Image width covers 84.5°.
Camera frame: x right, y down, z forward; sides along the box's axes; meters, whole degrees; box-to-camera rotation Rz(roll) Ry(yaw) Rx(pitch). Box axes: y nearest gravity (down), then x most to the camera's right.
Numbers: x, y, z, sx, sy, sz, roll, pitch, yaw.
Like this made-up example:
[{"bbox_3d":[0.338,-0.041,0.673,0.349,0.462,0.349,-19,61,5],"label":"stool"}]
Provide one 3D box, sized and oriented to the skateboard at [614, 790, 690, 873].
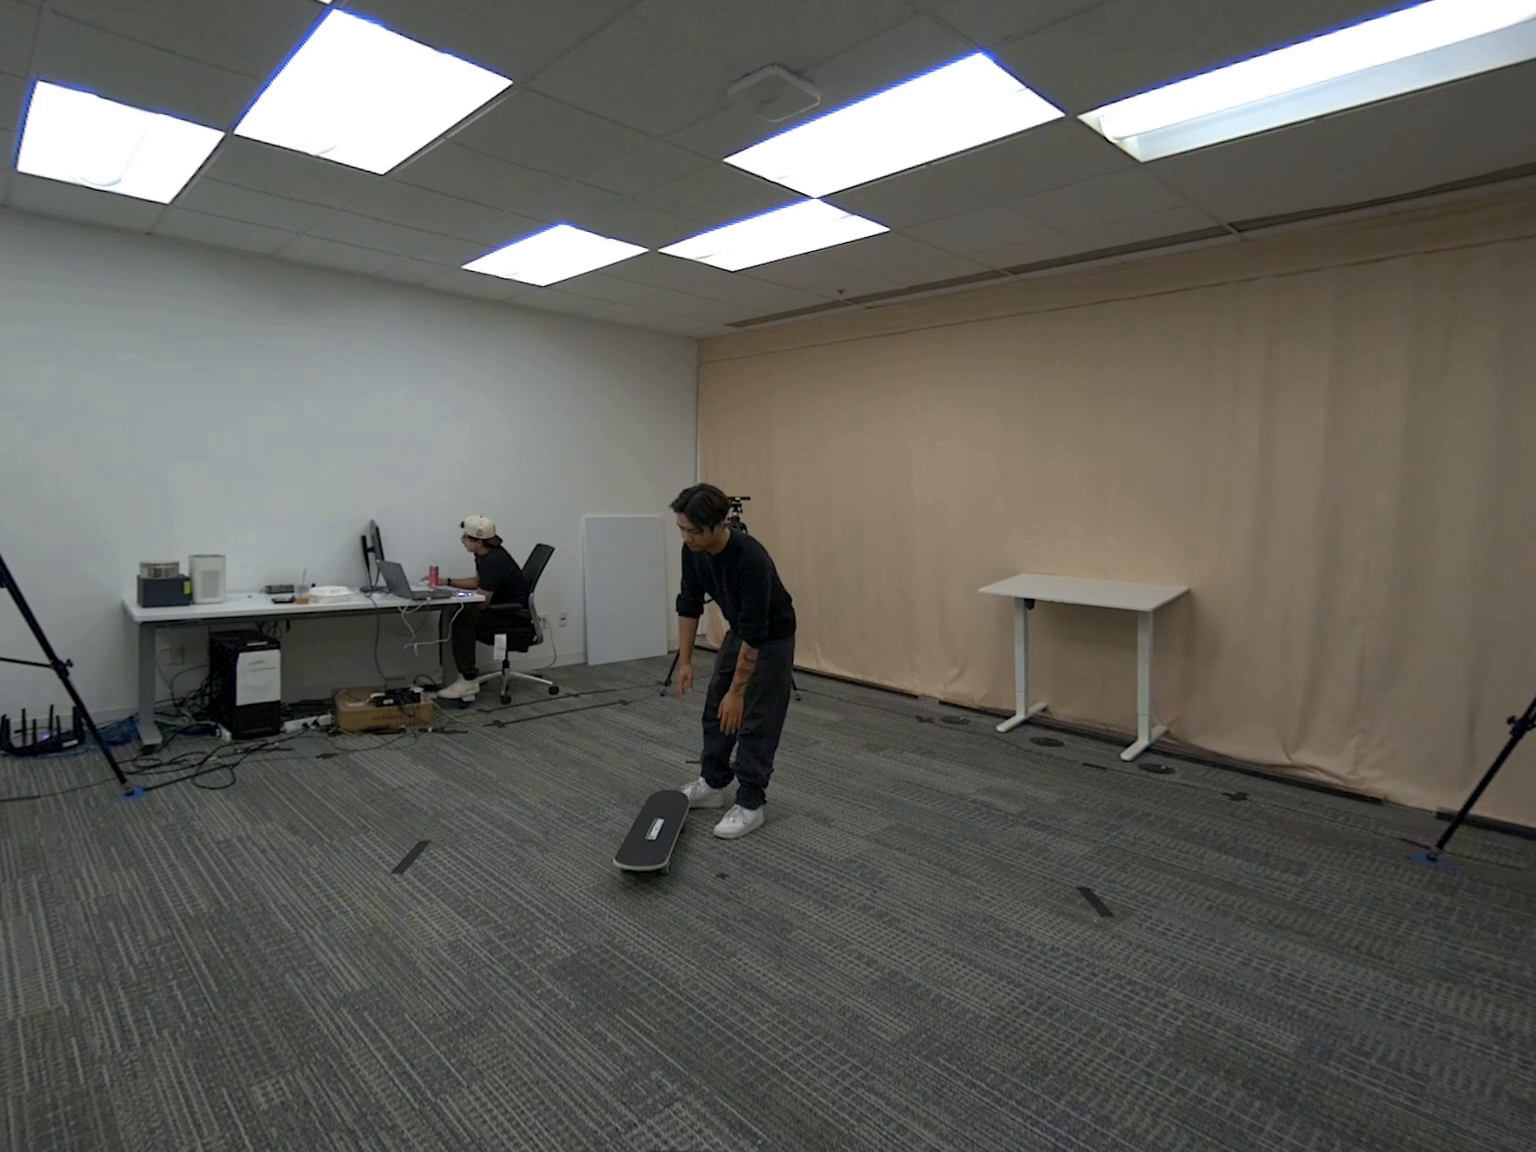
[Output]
[{"bbox_3d":[-0.453,1.025,3.304,0.194,0.110,0.785,1,5,2],"label":"skateboard"}]
